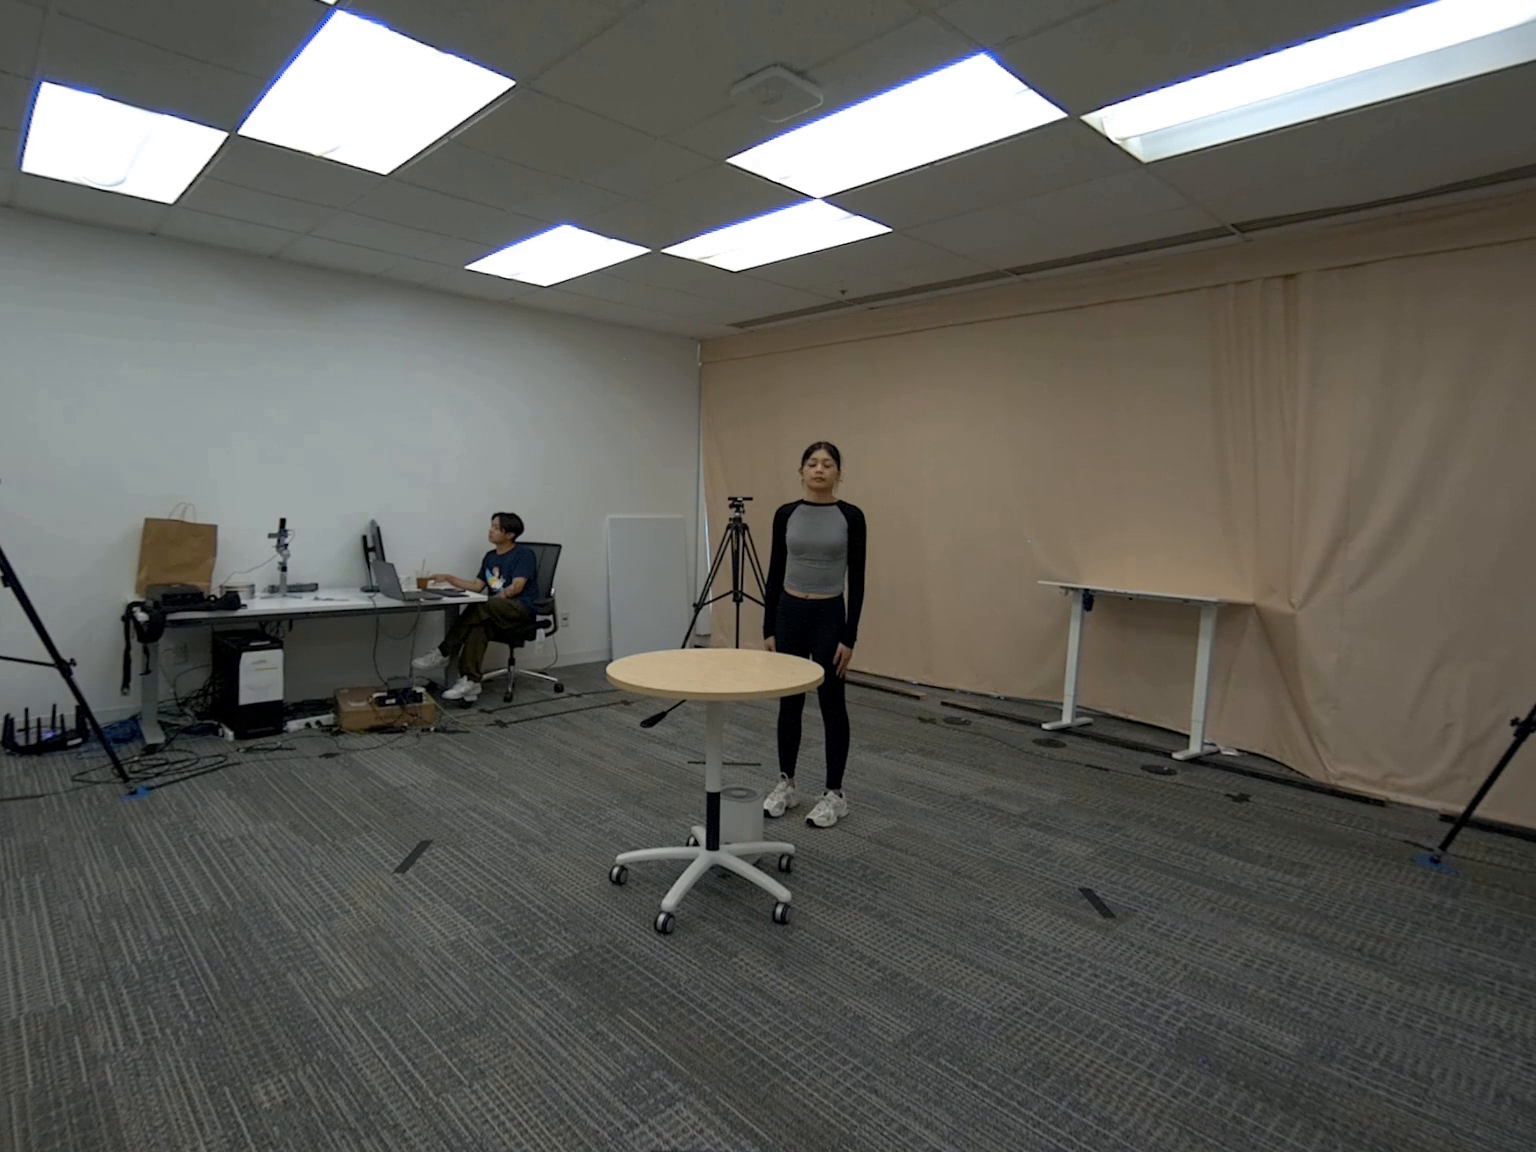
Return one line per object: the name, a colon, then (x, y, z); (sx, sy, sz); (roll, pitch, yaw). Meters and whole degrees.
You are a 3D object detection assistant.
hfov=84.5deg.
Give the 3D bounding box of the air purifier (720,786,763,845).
air purifier: (-0.121, 0.958, 3.230); (0.174, 0.265, 0.169); (3, 4, 25)
